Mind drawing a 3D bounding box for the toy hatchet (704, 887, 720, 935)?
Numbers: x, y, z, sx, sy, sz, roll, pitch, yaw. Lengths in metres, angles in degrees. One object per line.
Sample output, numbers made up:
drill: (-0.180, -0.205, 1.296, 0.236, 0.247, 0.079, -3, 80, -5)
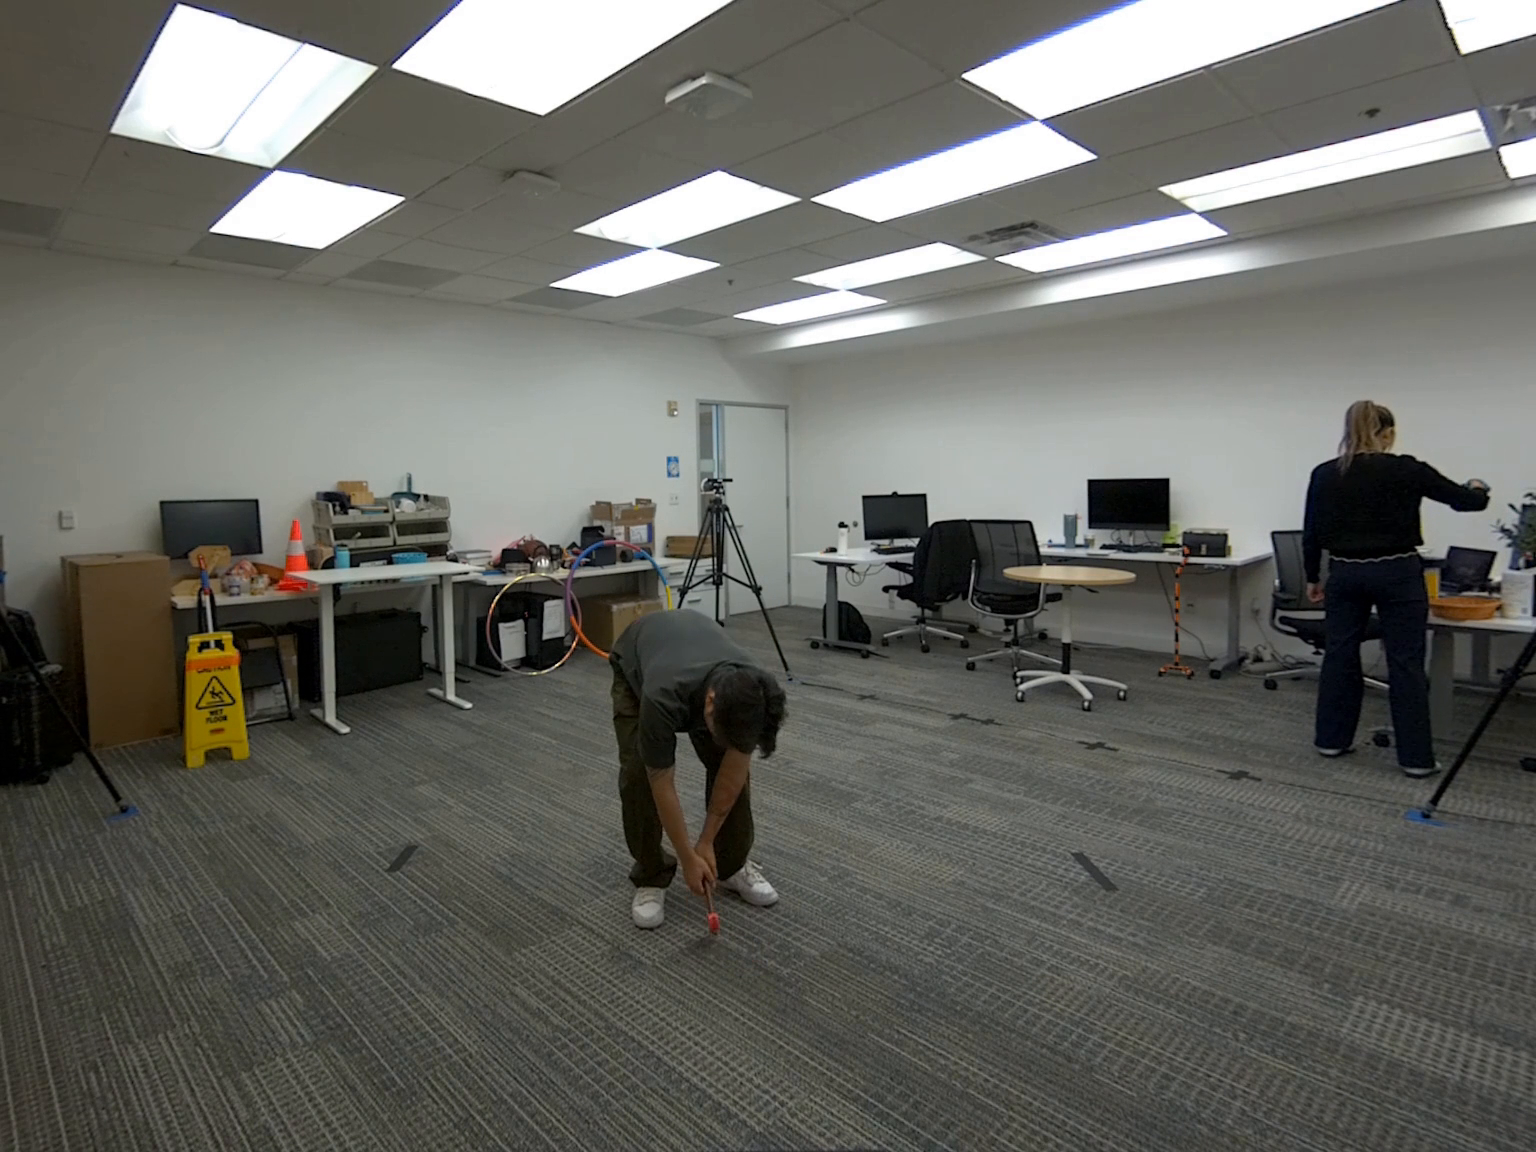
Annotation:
toy hatchet: (-0.190, 1.038, 2.633, 0.029, 0.128, 0.276, -49, 21, -17)
